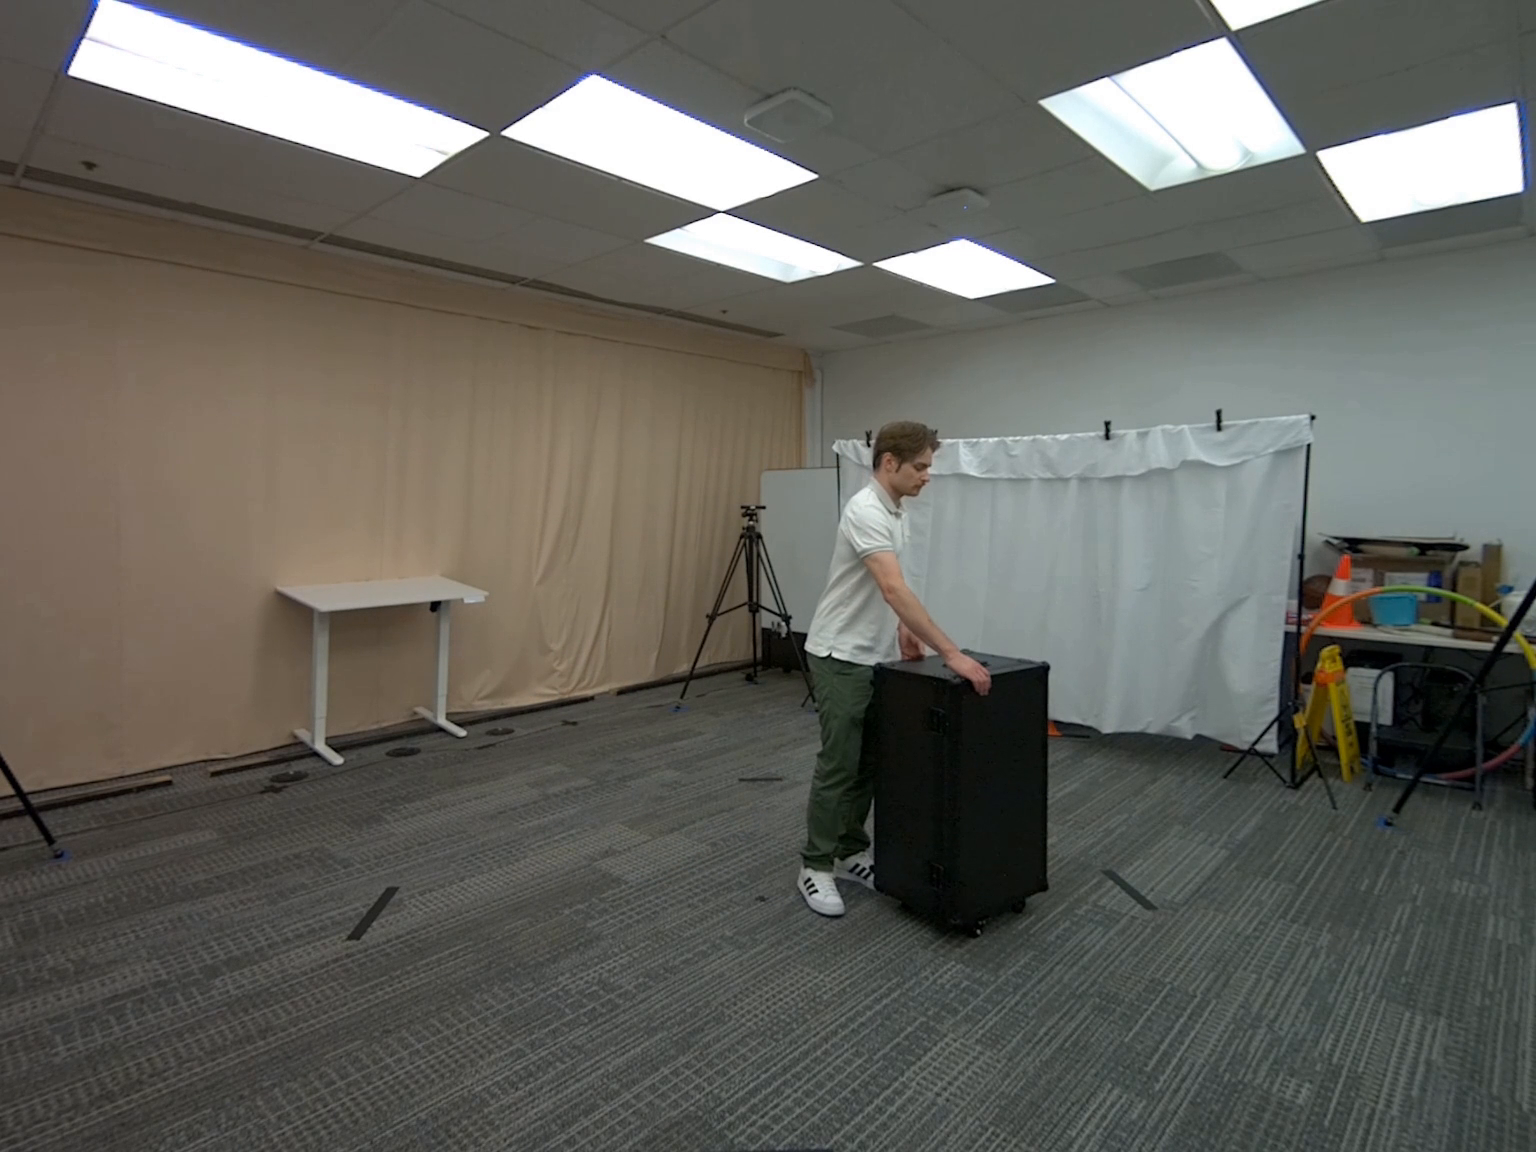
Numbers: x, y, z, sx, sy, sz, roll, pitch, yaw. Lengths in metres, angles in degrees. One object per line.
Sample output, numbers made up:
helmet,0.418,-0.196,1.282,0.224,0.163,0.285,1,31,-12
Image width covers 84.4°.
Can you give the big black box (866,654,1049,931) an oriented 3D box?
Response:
big black box,0.662,0.731,2.878,0.508,0.867,0.397,-3,4,-37
